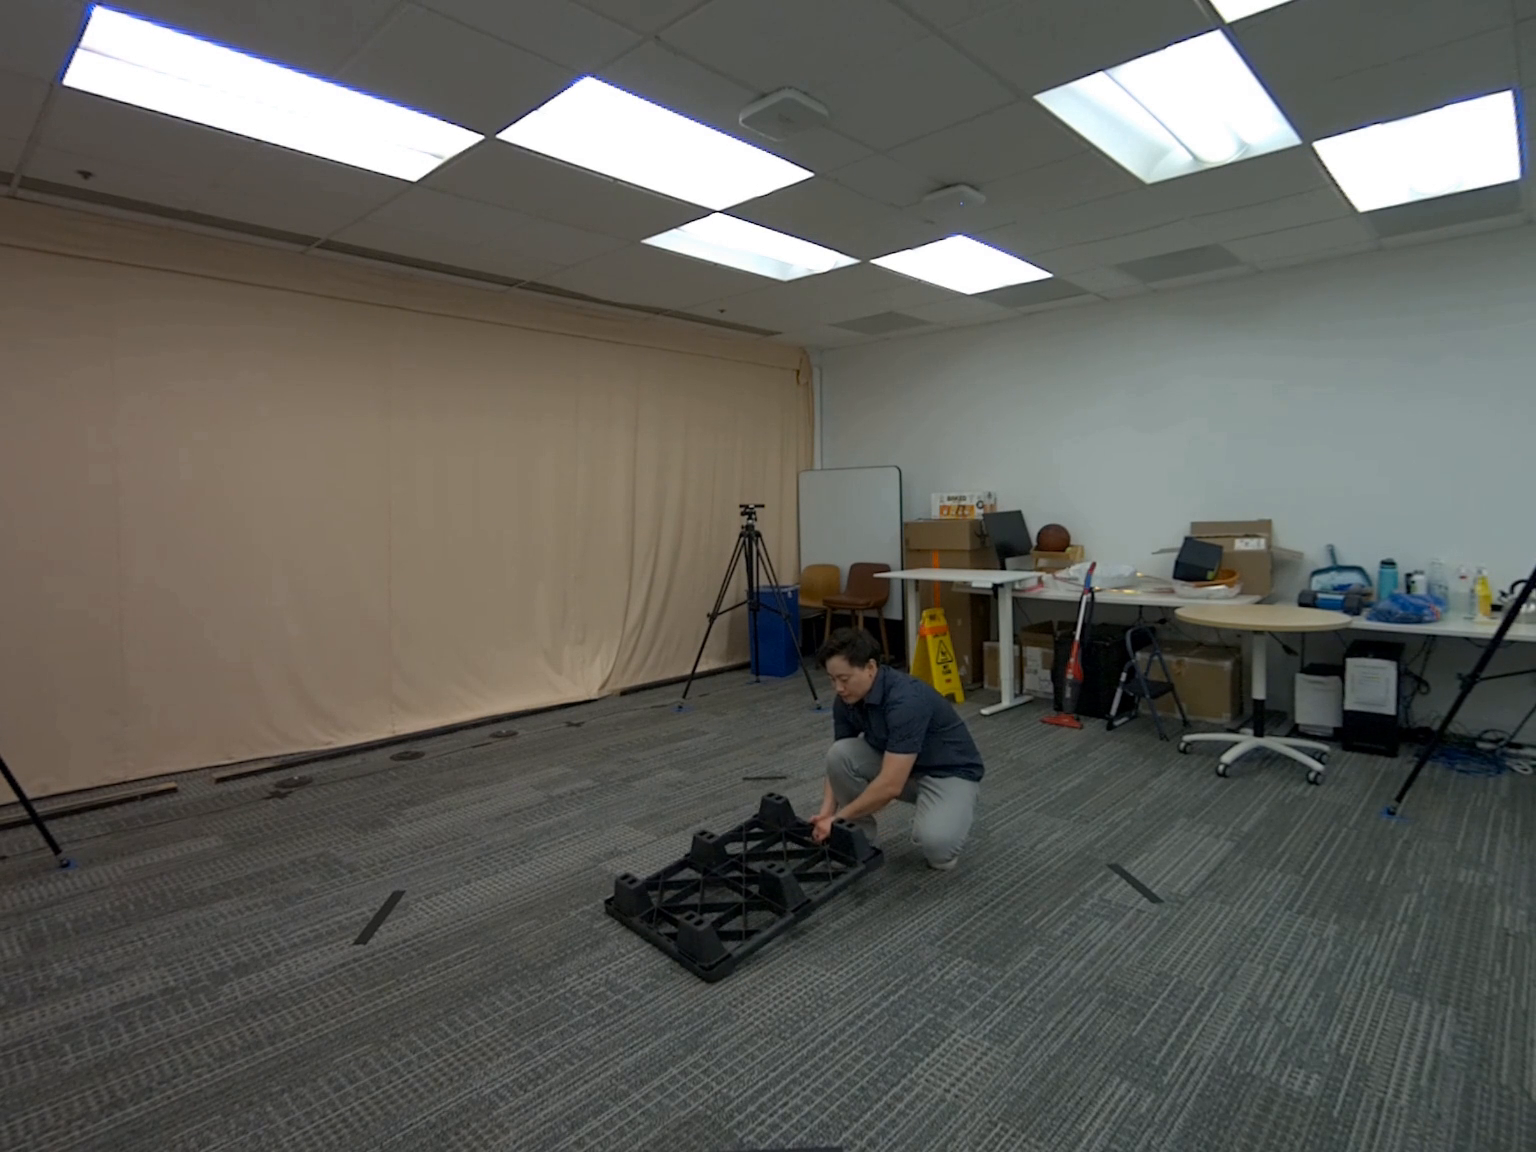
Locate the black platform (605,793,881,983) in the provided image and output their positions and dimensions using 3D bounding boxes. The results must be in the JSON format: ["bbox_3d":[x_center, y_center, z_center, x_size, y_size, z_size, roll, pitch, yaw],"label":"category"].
[{"bbox_3d":[-0.087,1.015,2.905,0.786,0.142,0.625,-18,15,-38],"label":"black platform"}]
